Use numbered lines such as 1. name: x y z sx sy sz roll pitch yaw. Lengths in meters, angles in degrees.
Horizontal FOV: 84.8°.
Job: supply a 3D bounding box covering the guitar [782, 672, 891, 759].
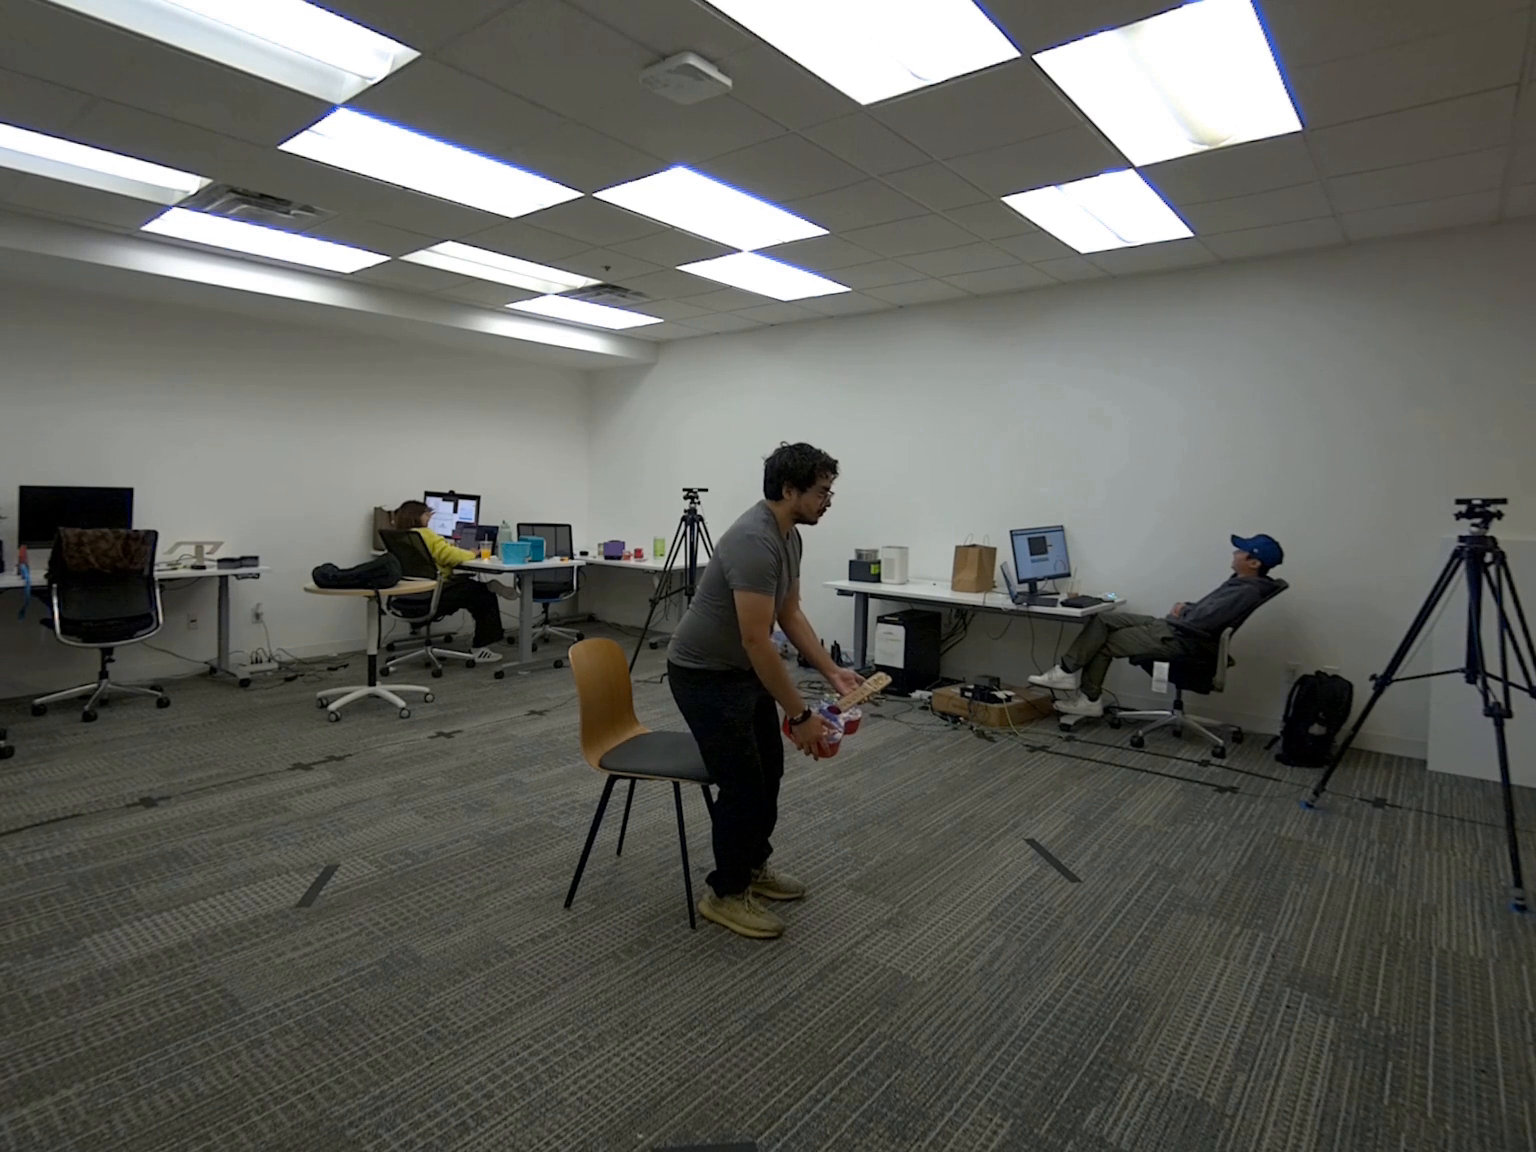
1. guitar: 0.270 0.451 2.747 0.486 0.069 0.201 -12 34 -35
